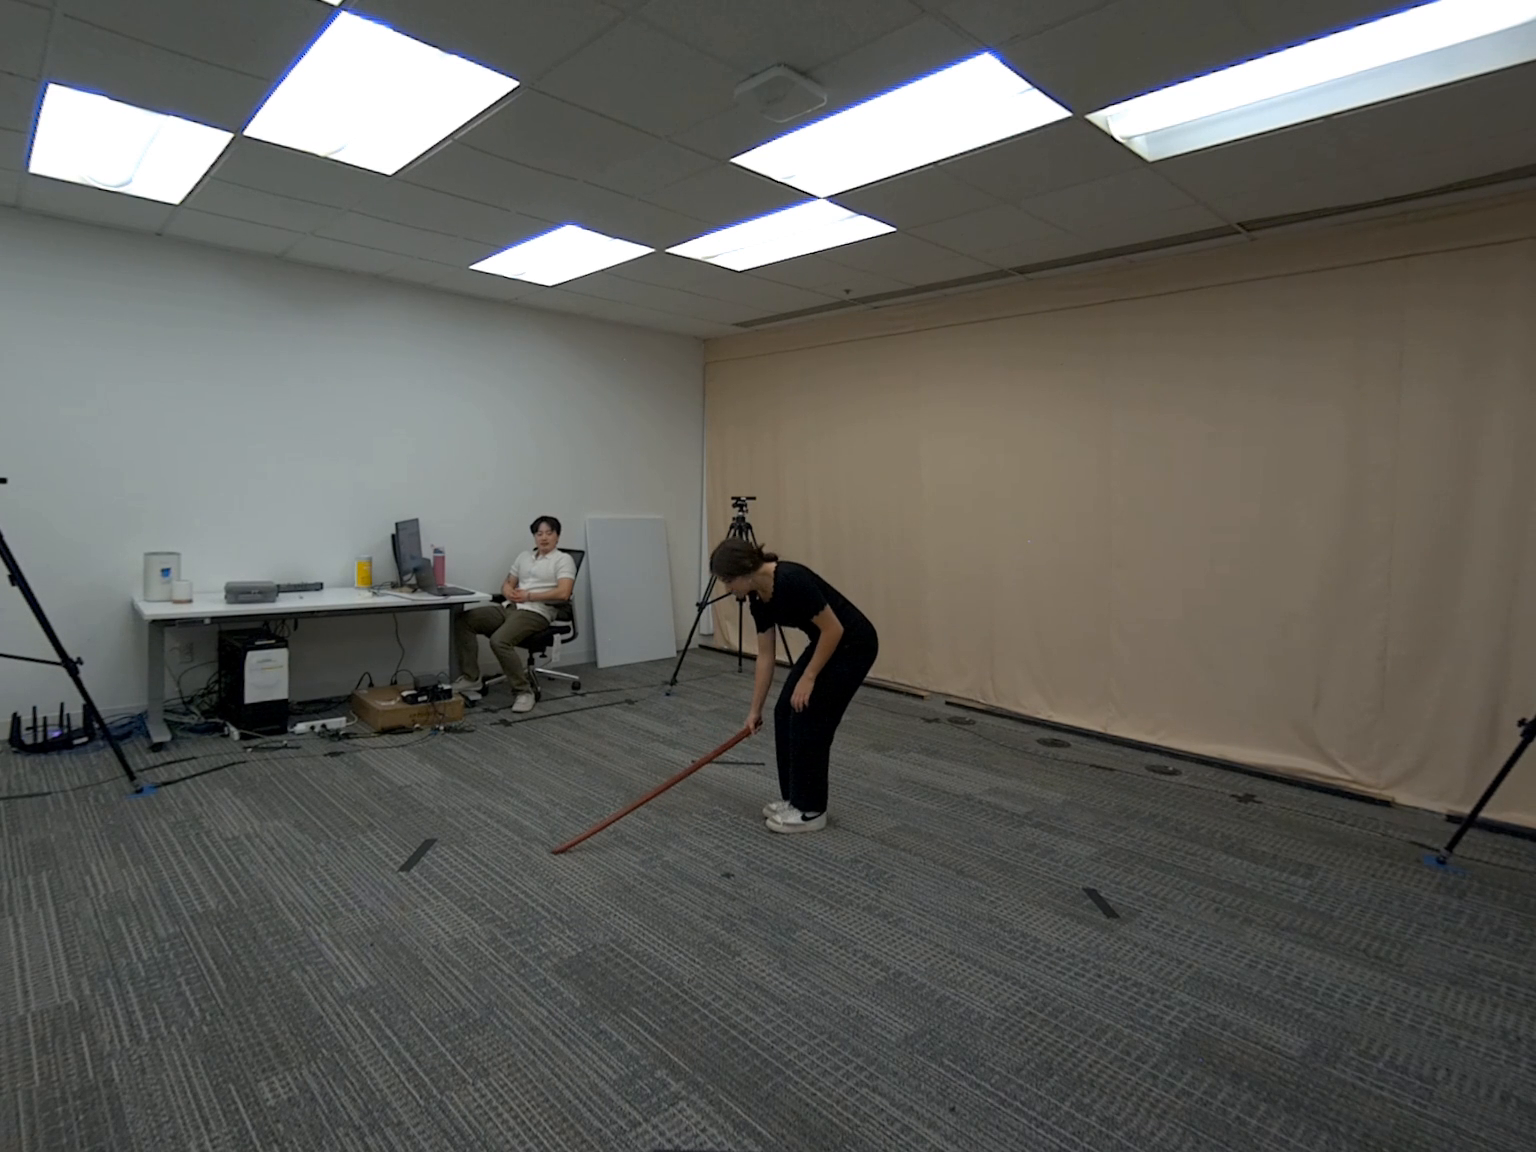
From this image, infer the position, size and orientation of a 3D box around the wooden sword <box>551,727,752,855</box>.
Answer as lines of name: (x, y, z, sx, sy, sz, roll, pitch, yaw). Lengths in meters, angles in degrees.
wooden sword: (-0.434, 0.865, 3.457, 1.015, 0.052, 0.024, -26, -17, -24)
